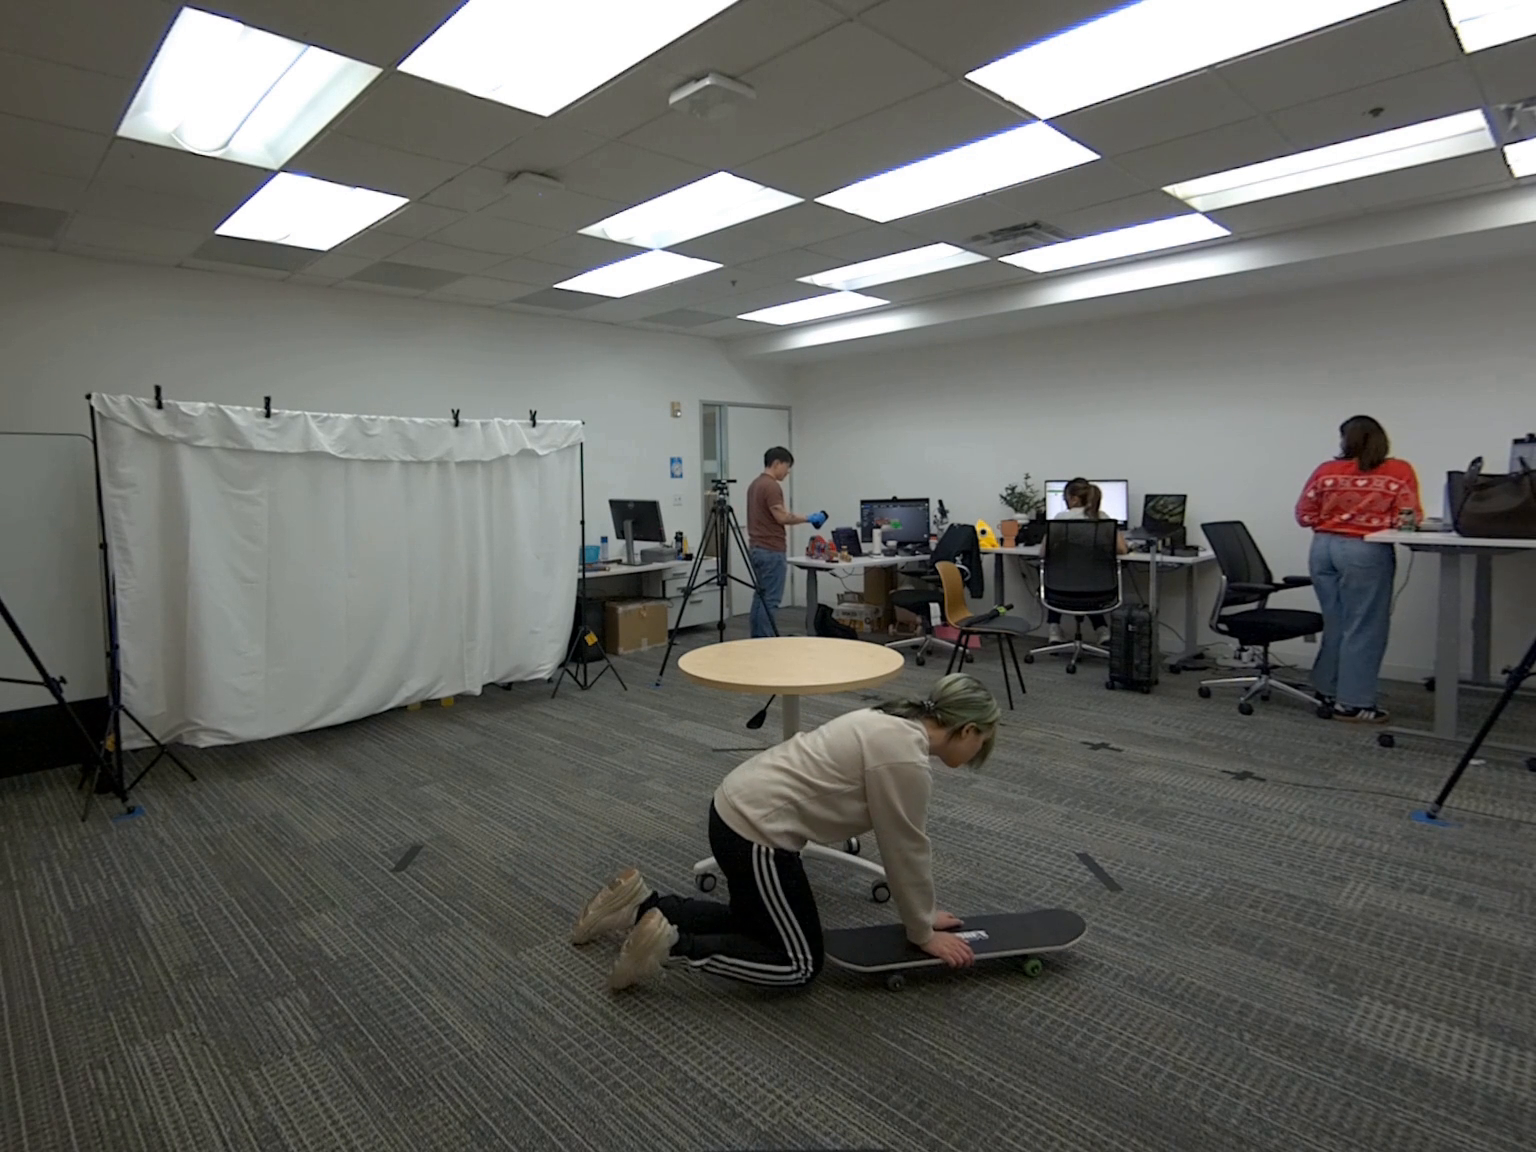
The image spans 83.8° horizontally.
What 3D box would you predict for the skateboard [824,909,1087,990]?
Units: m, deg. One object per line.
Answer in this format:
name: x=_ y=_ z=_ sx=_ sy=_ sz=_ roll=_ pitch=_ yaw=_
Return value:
skateboard: x=0.529 y=1.054 z=2.430 sx=0.780 sy=0.110 sz=0.196 roll=-2 pitch=6 yaw=-7
